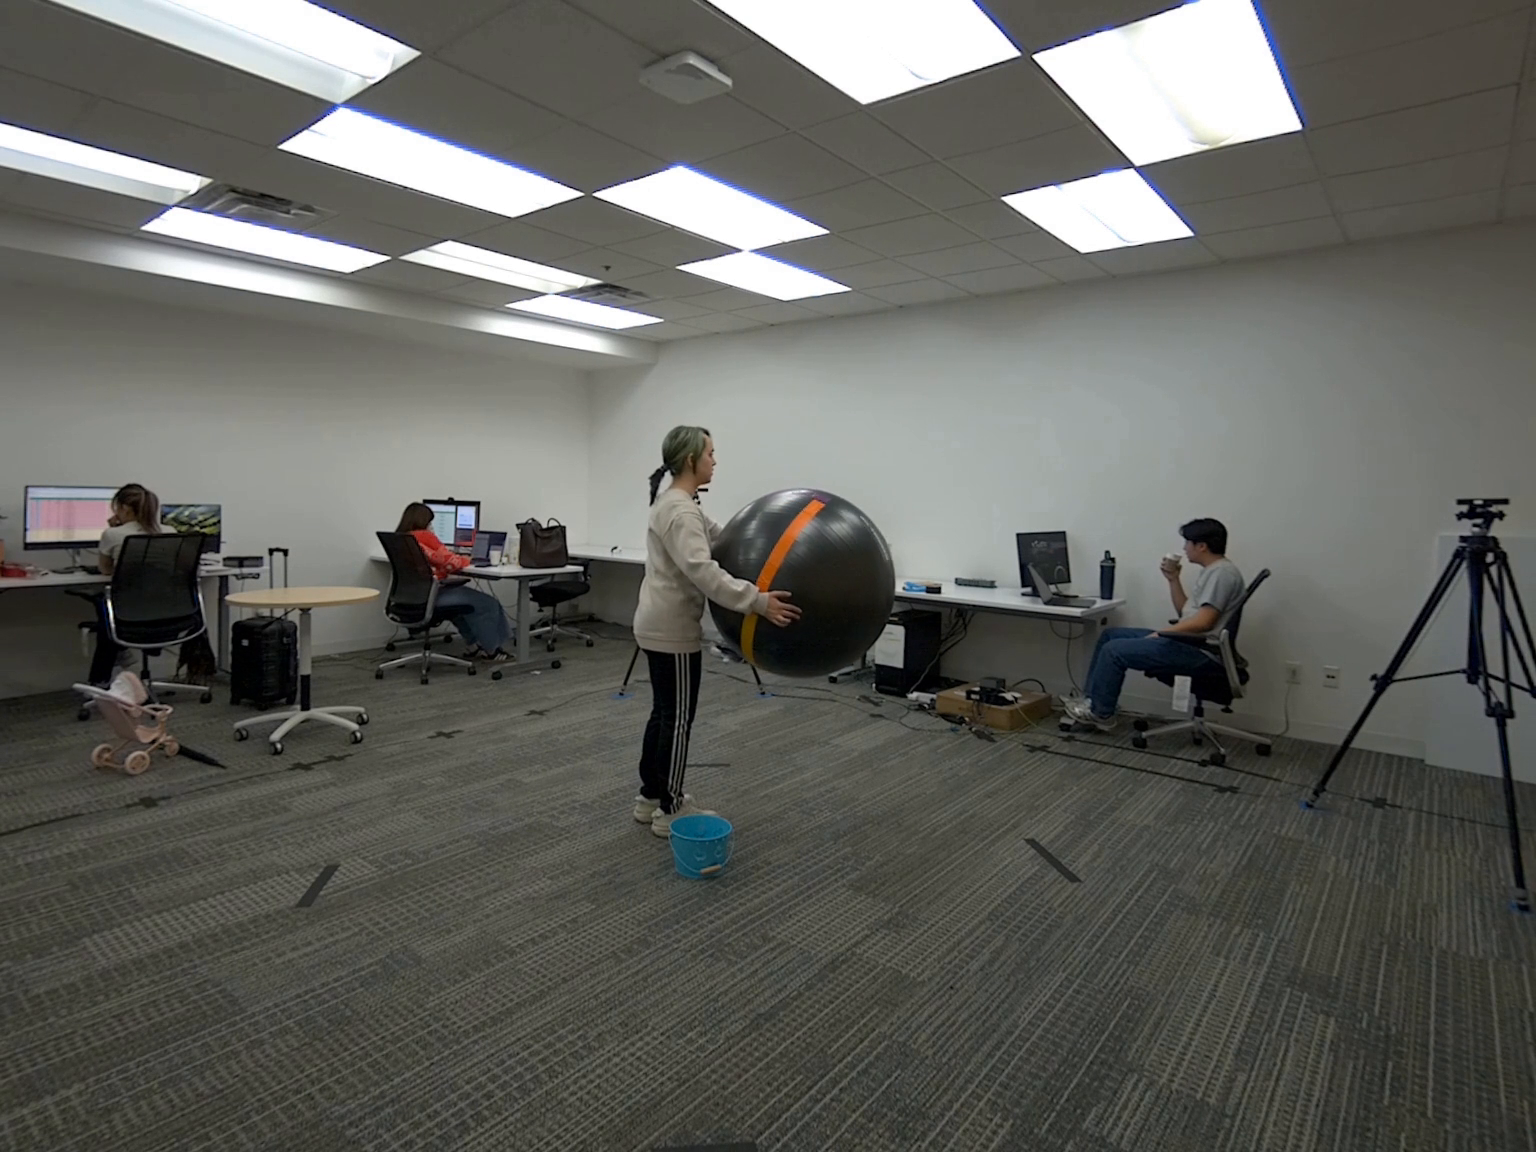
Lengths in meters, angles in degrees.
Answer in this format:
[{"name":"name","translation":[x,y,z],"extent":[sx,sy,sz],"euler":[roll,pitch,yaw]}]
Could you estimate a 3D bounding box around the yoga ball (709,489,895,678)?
[{"name":"yoga ball","translation":[0.121,0.033,3.432],"extent":[0.757,0.756,0.762],"euler":[1,4,-2]}]
